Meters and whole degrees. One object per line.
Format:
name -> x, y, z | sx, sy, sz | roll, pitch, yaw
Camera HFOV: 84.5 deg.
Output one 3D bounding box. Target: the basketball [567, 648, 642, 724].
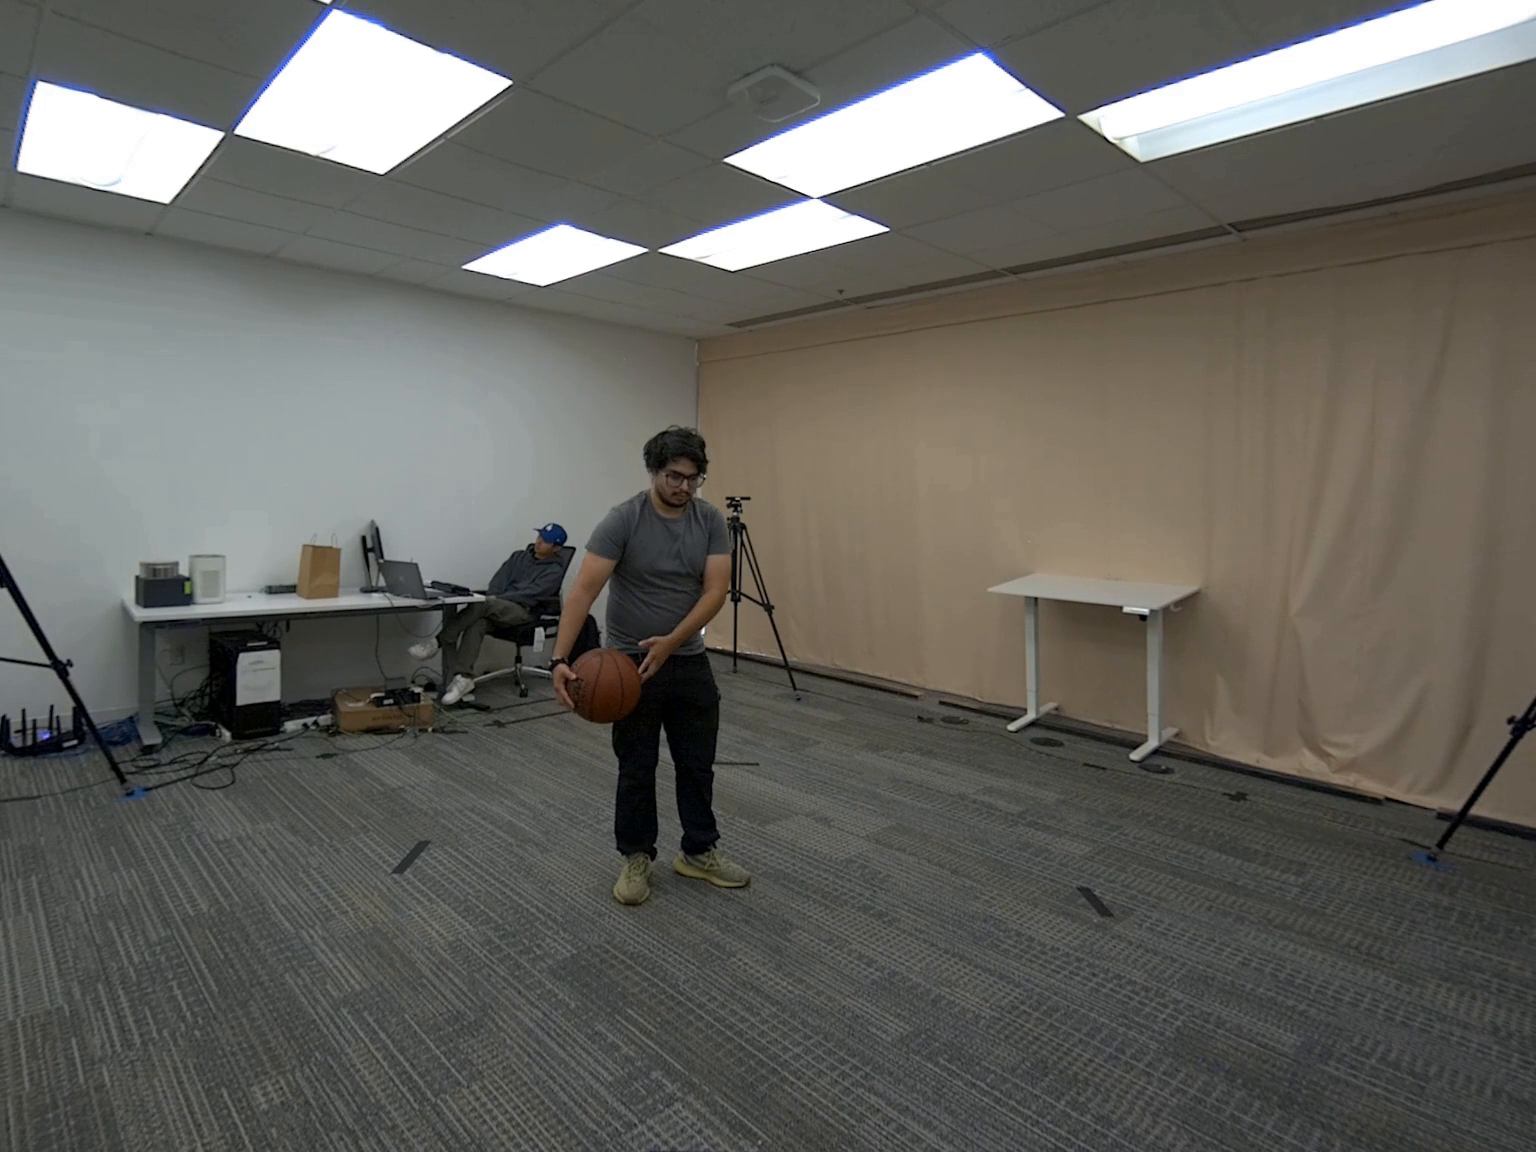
basketball -> -0.529, 0.346, 2.668 | 0.236, 0.235, 0.237 | 1, 4, -1
